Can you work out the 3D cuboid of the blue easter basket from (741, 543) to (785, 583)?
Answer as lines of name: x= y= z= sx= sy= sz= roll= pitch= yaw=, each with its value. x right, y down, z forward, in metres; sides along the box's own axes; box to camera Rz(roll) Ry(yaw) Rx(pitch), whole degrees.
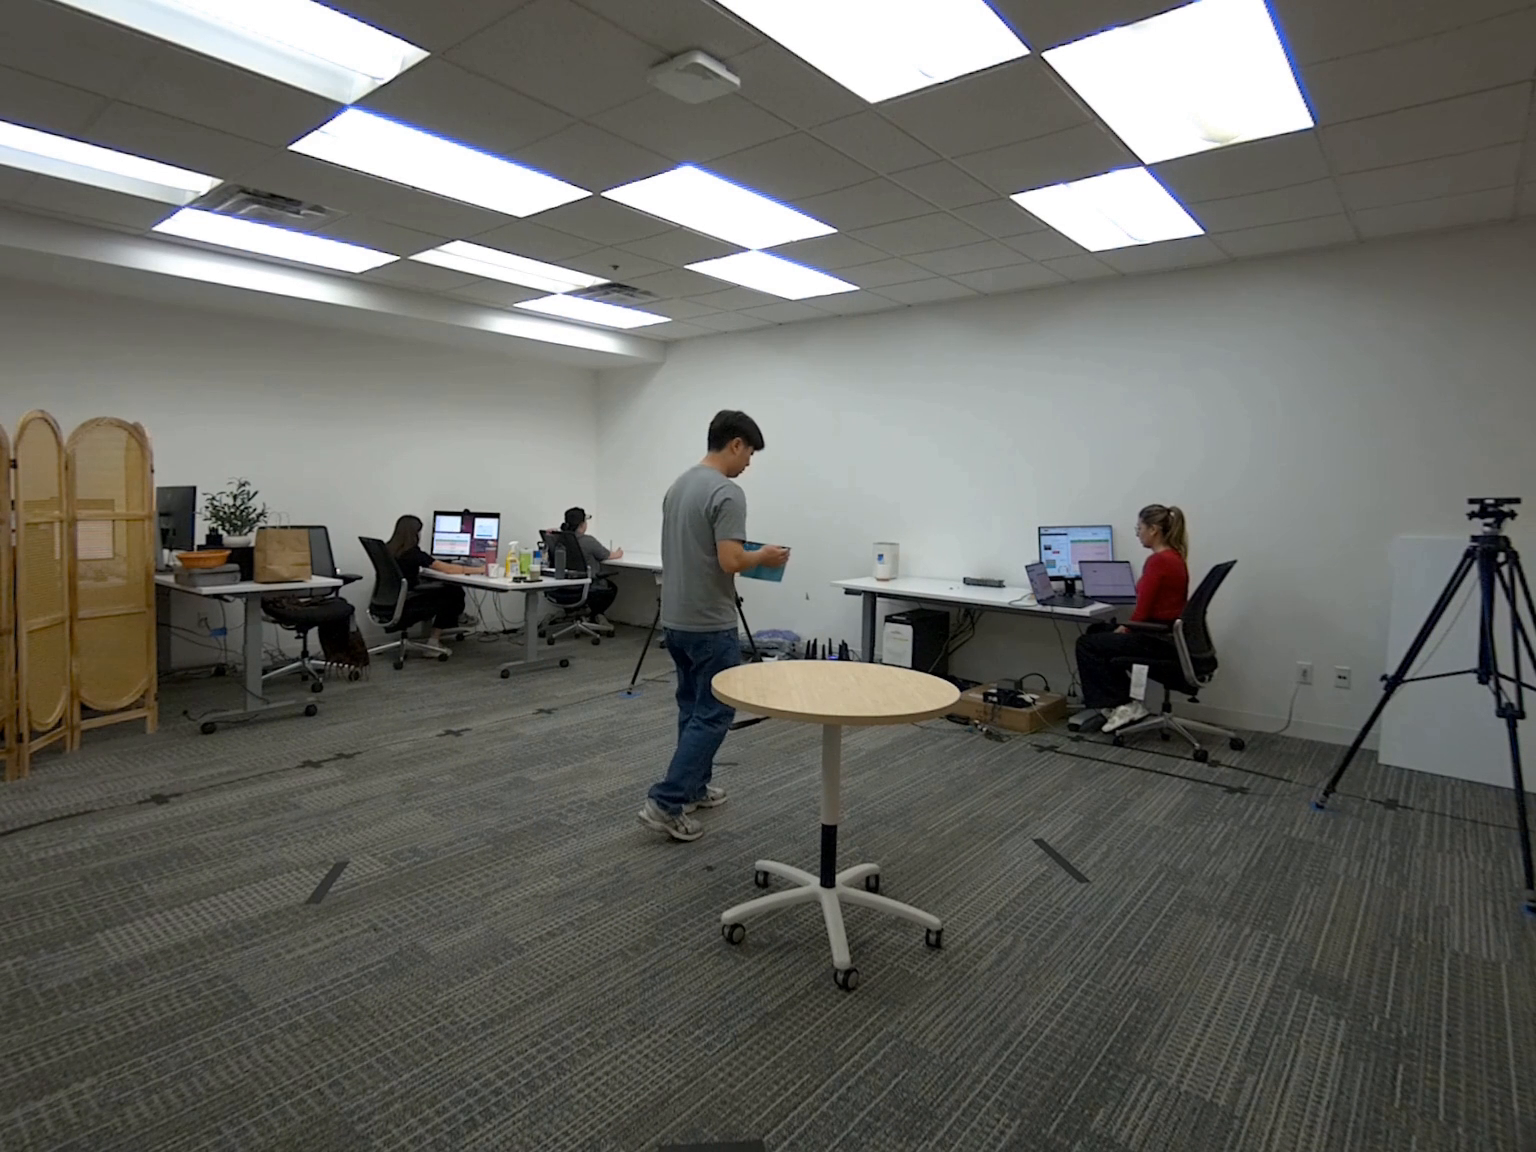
blue easter basket: x=-0.042 y=-0.062 z=3.614 sx=0.243 sy=0.156 sz=0.244 roll=6 pitch=0 yaw=-2
